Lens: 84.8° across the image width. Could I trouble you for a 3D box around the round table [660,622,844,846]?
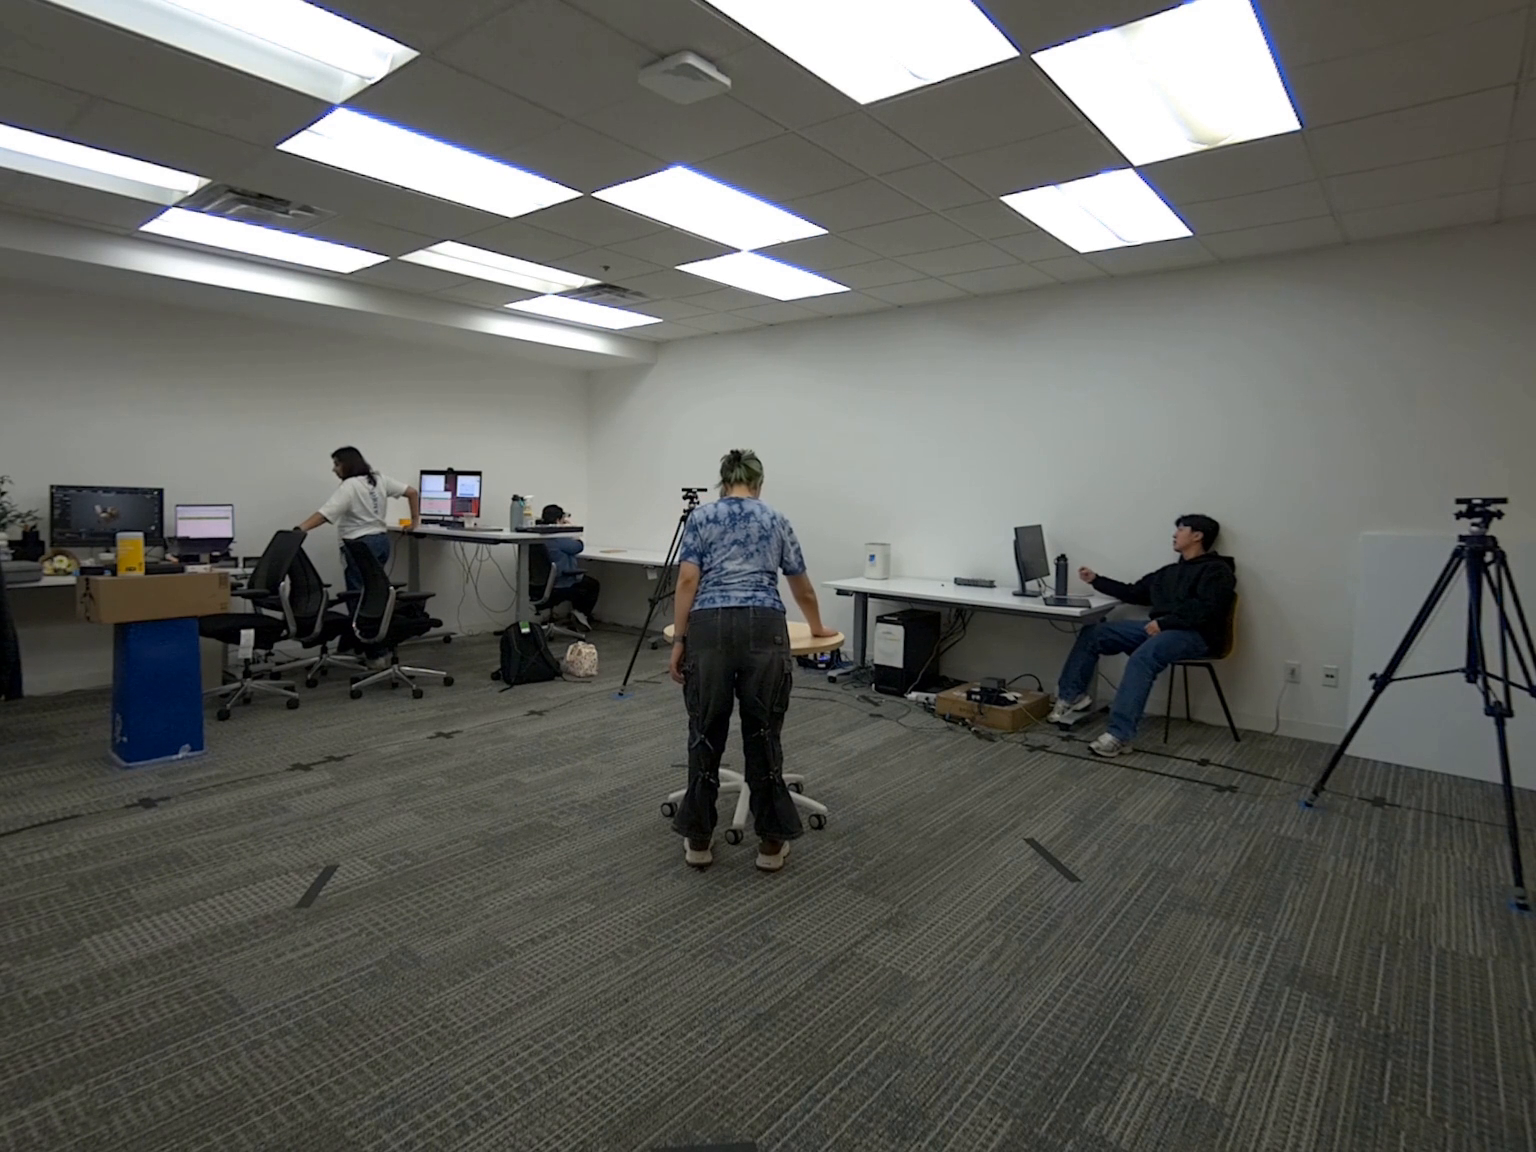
[{"bbox_3d":[-0.070,0.626,3.629,0.784,0.784,0.789,1,4,-2],"label":"round table"}]
